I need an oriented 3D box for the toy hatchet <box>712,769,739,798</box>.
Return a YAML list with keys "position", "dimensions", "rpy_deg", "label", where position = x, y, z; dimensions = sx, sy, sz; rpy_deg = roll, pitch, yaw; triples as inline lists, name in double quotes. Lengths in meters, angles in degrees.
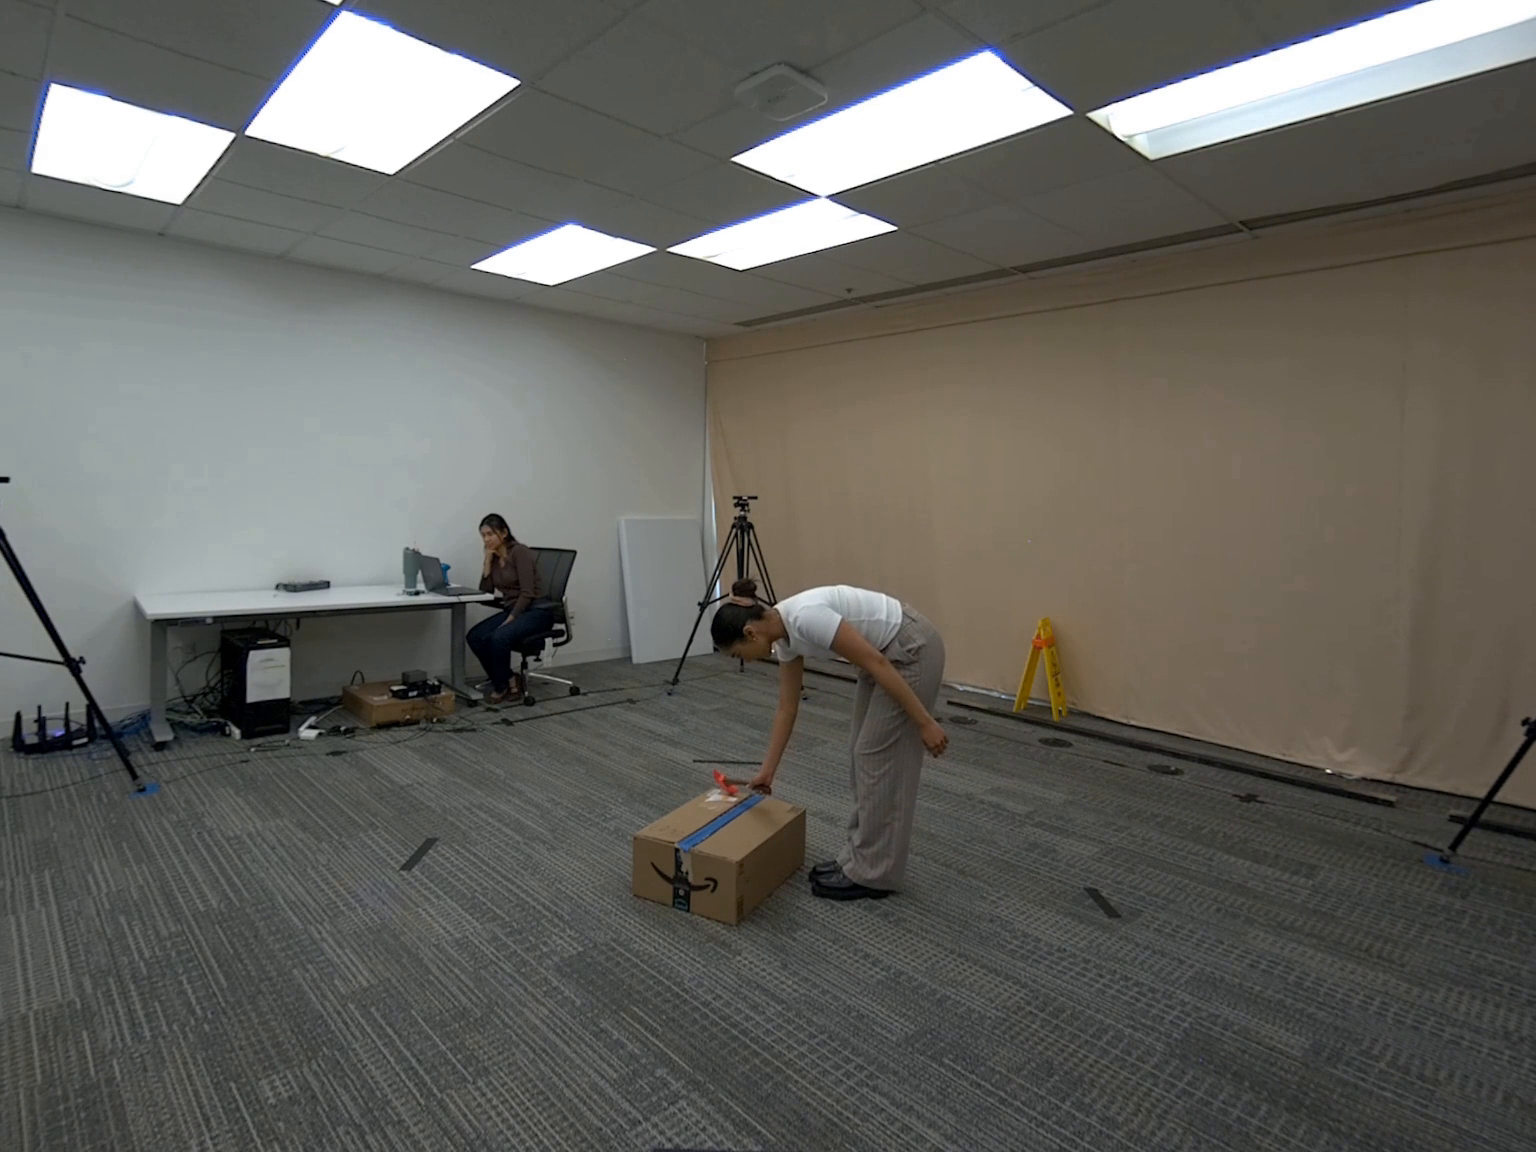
- position: [-0.101, 0.824, 3.254]
  dimensions: [0.277, 0.128, 0.029]
  rpy_deg: [9, 40, 35]
  label: "toy hatchet"
